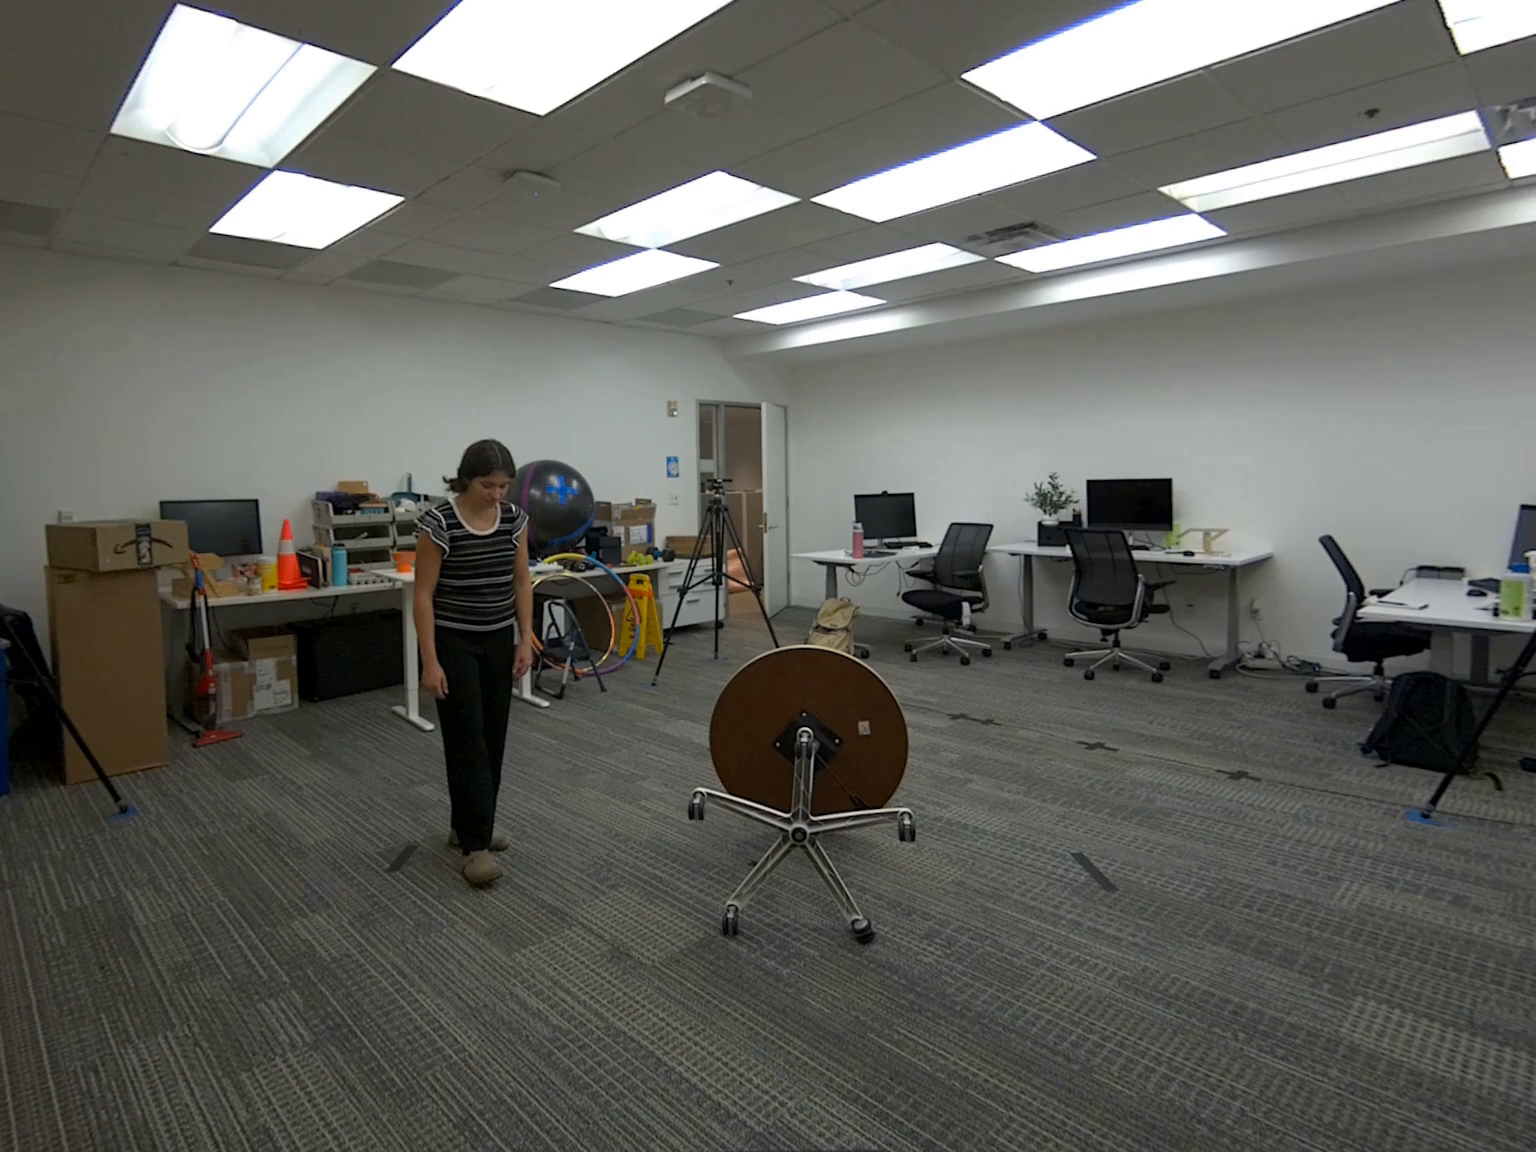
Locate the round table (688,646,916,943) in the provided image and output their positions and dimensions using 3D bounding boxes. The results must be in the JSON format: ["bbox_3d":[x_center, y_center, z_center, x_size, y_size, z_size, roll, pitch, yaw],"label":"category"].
[{"bbox_3d":[0.127,0.723,2.912,0.791,0.777,0.788,0,11,7],"label":"round table"}]
